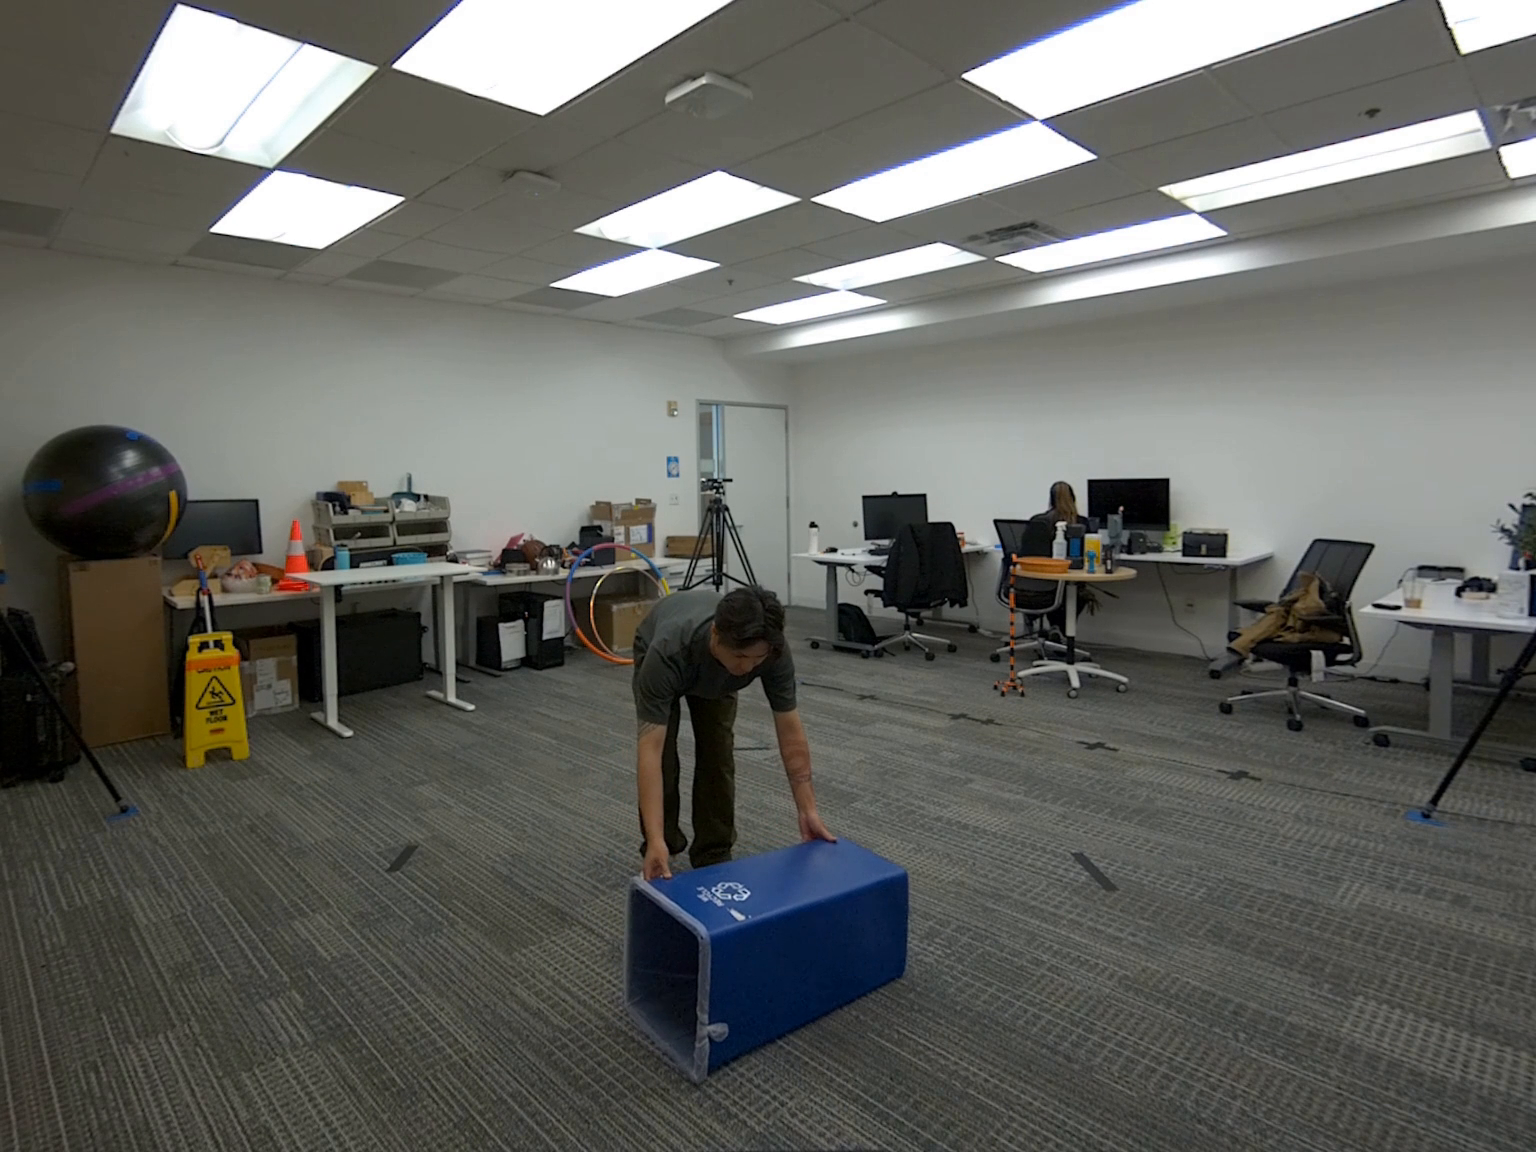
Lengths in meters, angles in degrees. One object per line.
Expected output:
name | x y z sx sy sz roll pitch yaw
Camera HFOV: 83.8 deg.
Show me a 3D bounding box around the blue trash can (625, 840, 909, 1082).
blue trash can | 0.023 0.966 2.303 0.695 0.373 0.389 -4 6 -36
